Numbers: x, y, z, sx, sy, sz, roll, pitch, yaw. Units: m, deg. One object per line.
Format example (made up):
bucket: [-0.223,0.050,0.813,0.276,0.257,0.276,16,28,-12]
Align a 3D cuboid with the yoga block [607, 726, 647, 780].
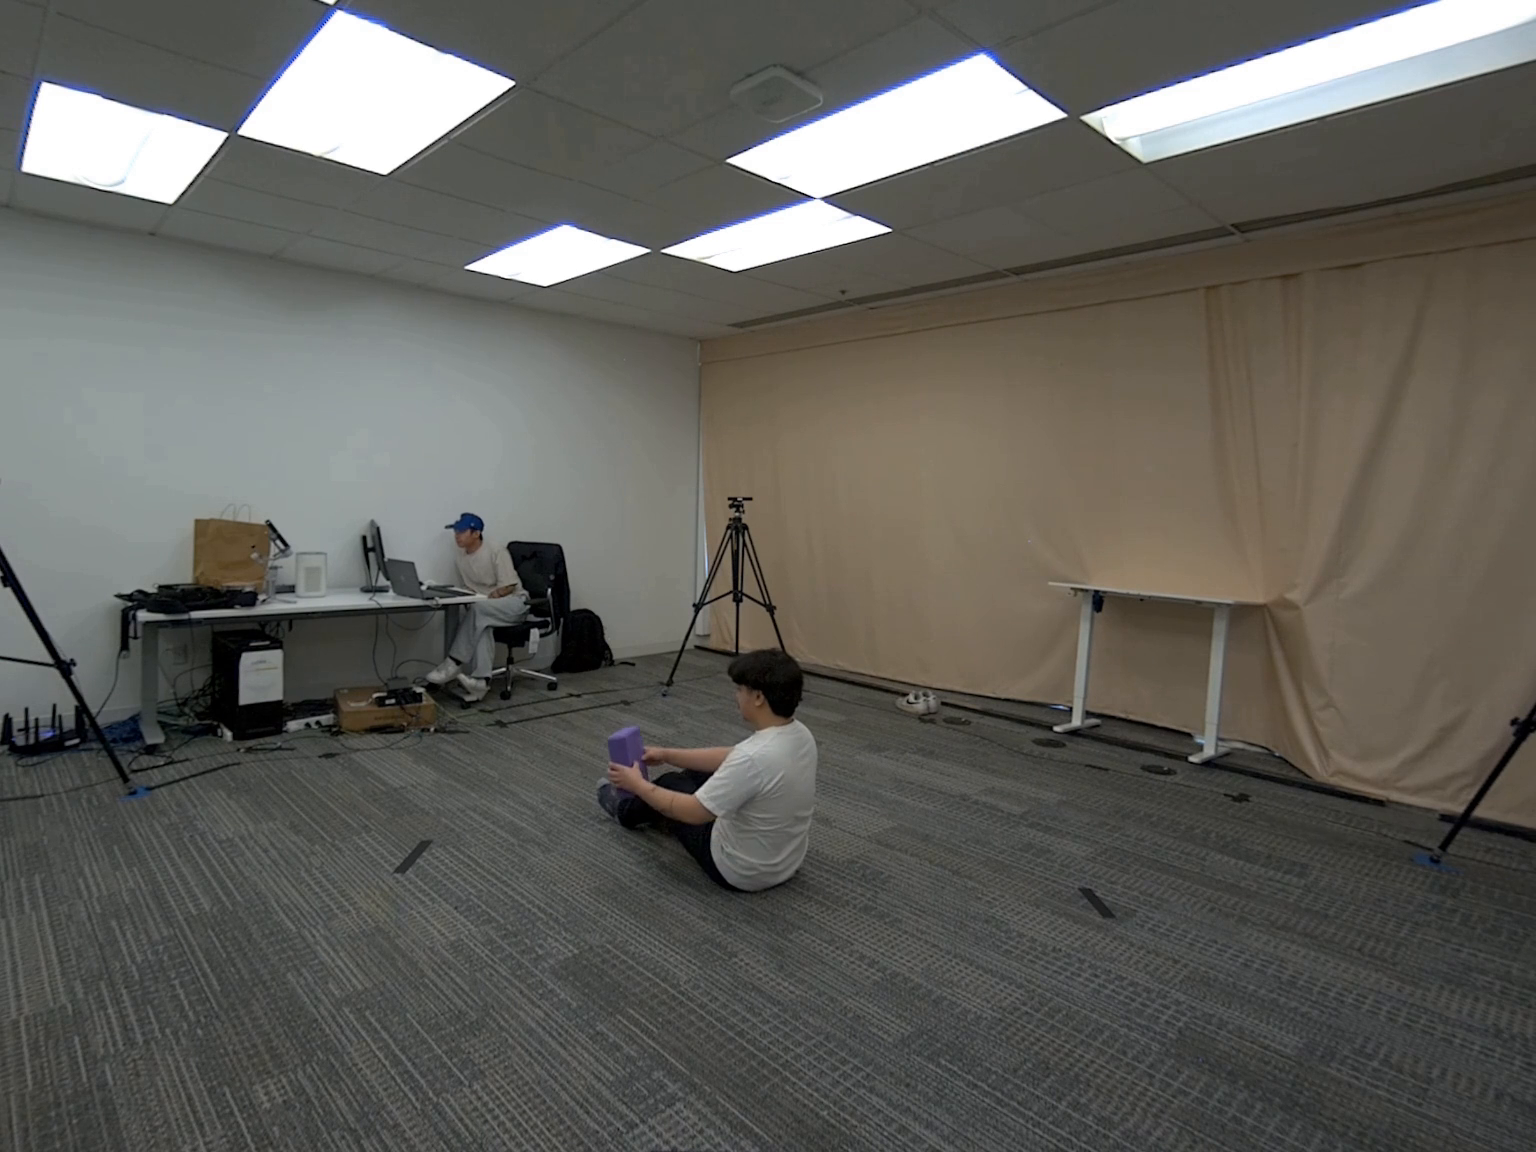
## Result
yoga block: [-0.517,0.692,3.134,0.077,0.229,0.147,-7,3,15]
